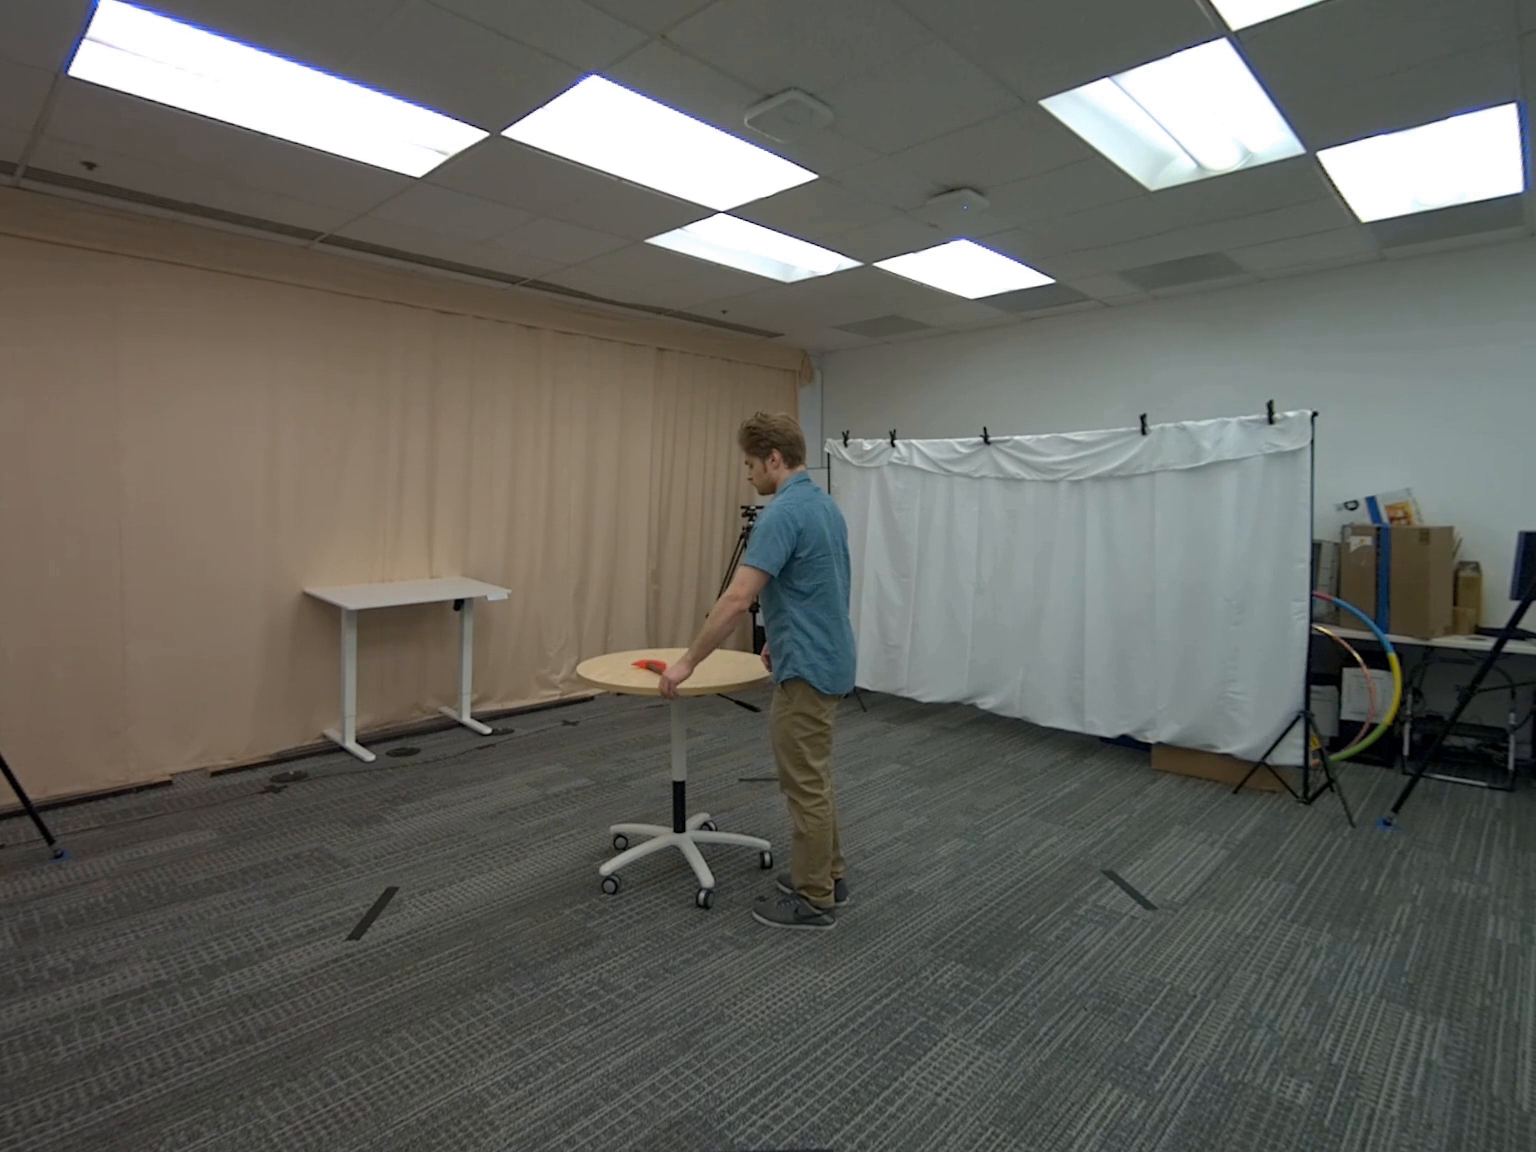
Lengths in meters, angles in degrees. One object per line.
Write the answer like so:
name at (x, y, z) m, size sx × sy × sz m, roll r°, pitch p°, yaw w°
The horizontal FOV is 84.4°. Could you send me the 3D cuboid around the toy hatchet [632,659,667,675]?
toy hatchet at (-0.376, 0.345, 3.095) m, size 0.127 × 0.029 × 0.279 m, roll 2°, pitch 5°, yaw -45°
